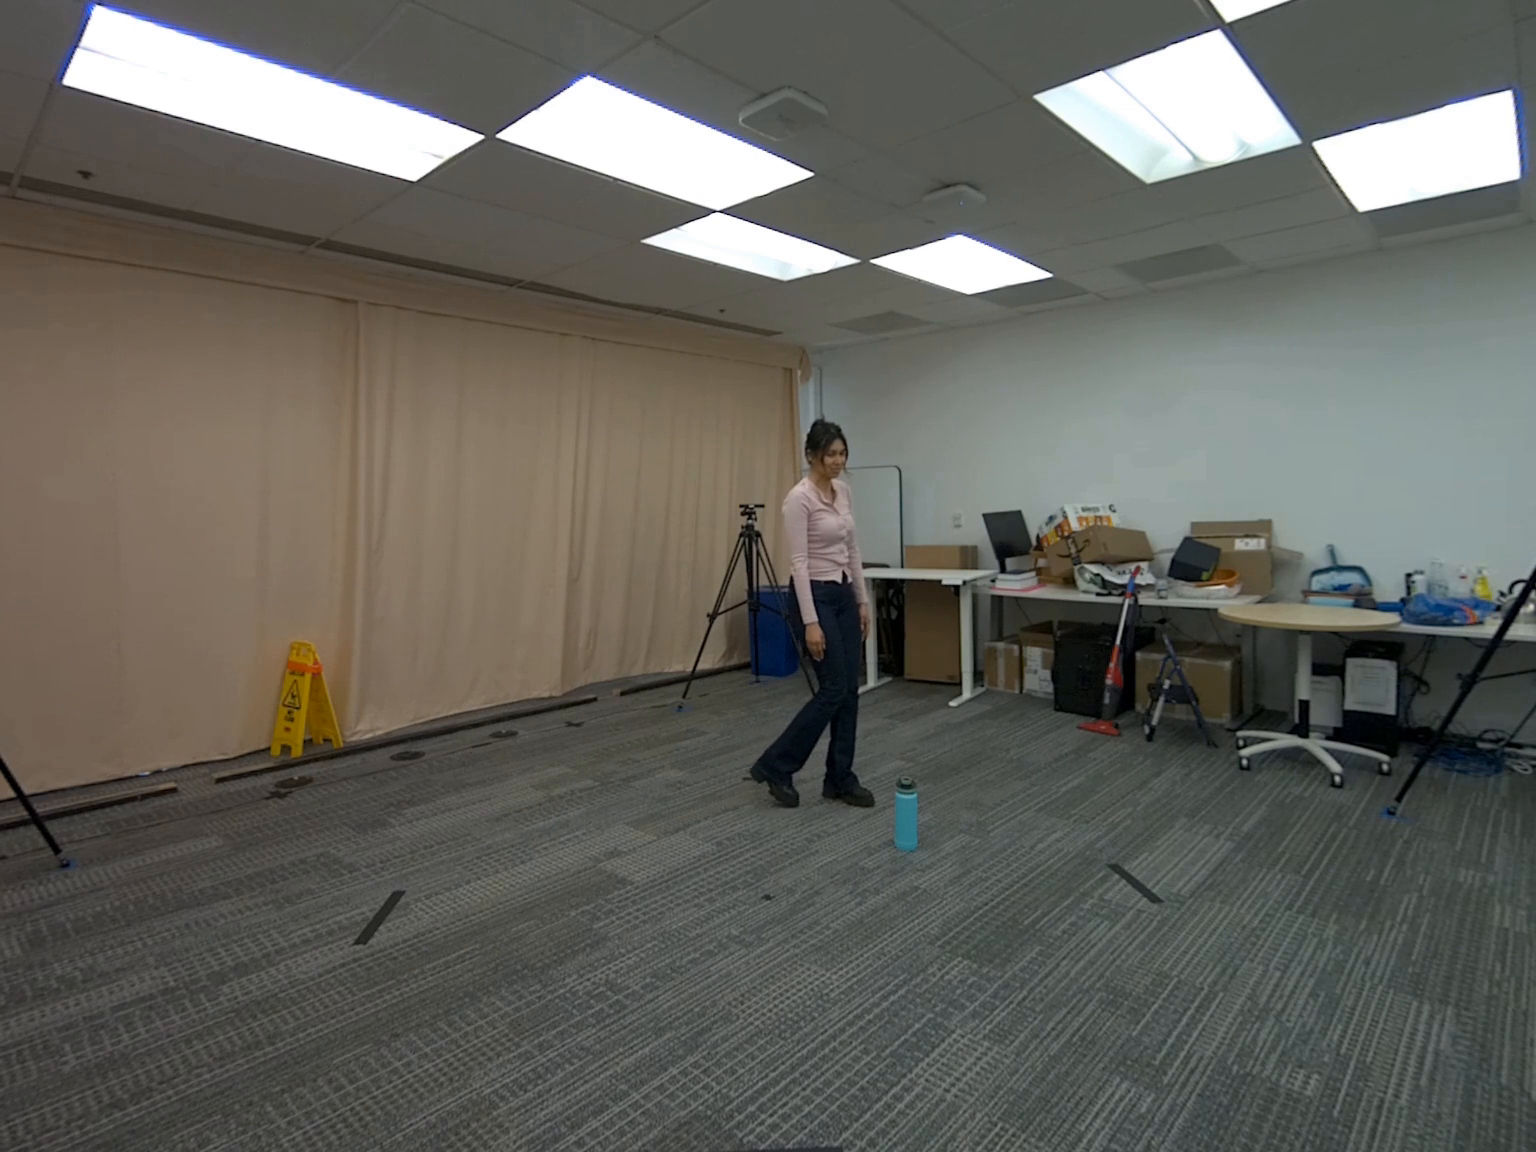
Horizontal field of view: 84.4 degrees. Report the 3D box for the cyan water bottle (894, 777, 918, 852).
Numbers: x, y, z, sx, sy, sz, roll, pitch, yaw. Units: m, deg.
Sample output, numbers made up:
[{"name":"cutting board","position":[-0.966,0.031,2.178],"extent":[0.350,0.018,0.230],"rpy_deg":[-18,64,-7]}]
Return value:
[{"name":"cyan water bottle","position":[0.556,0.948,3.398],"extent":[0.092,0.283,0.092],"rpy_deg":[-1,3,-2]}]
